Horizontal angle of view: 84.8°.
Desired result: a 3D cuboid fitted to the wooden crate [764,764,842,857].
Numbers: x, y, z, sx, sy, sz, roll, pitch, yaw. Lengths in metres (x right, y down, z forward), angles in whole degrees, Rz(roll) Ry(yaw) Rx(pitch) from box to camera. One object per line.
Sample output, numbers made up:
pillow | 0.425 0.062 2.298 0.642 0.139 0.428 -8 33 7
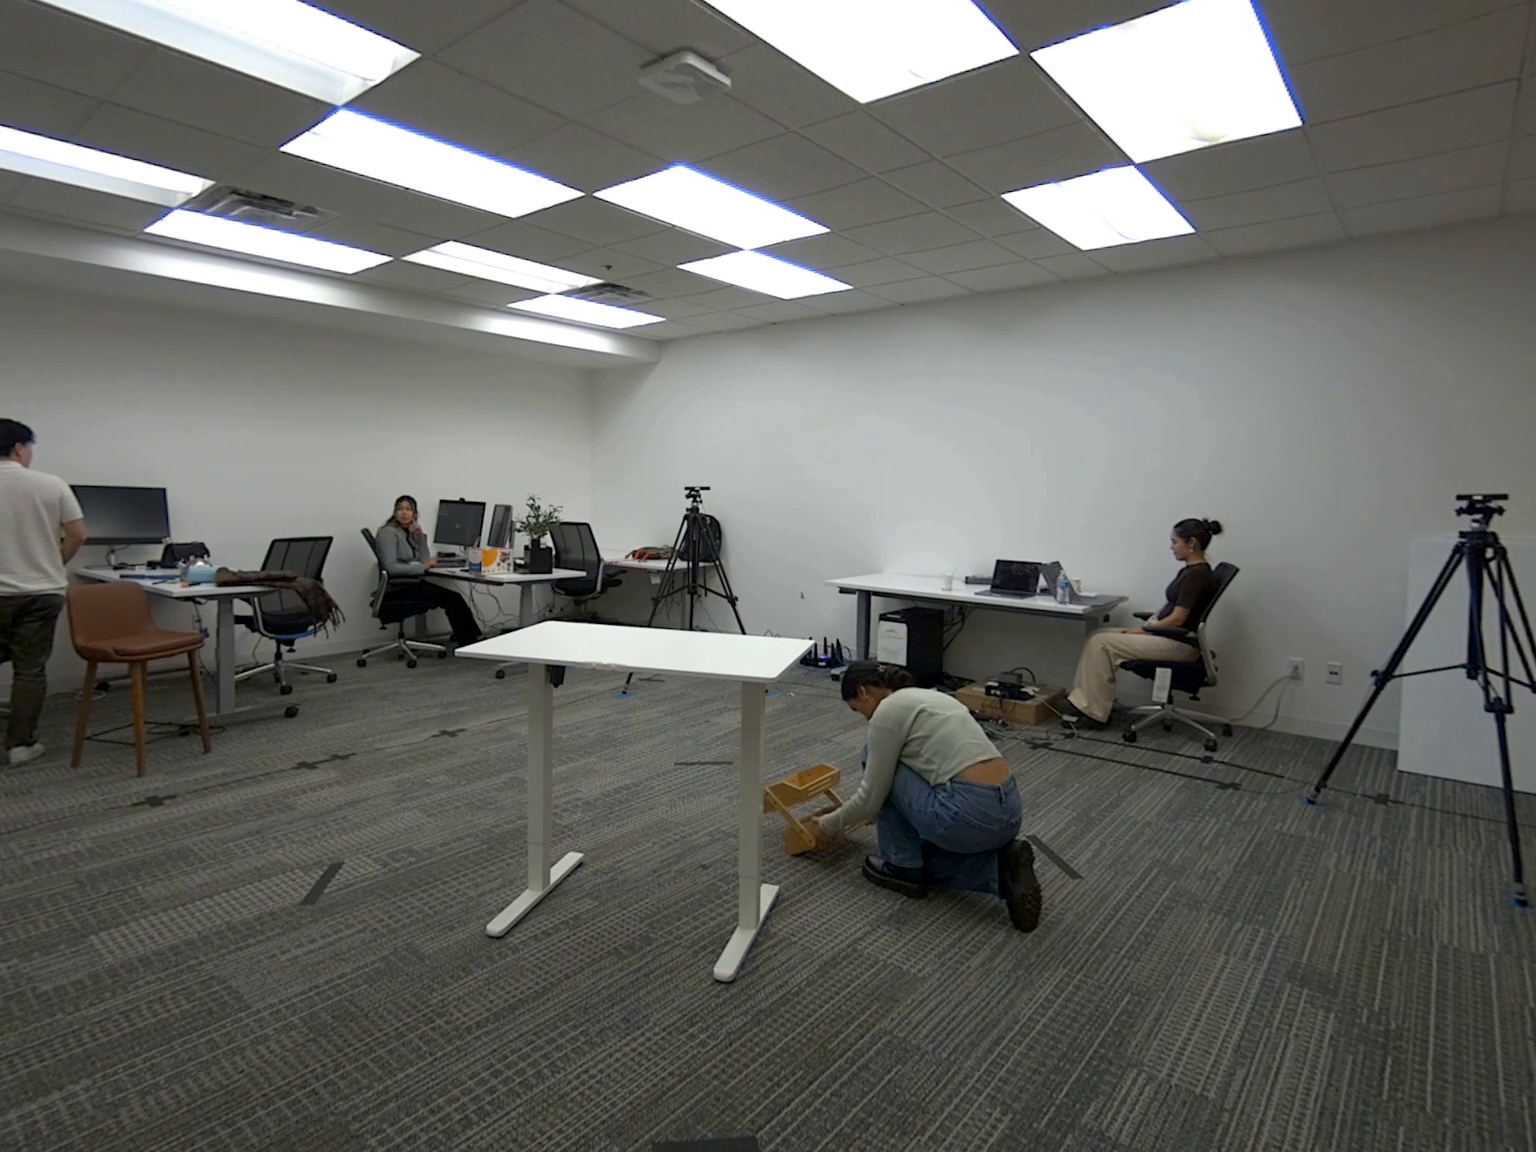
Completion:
wooden crate | 0.181 0.887 3.326 0.306 0.278 0.315 -29 -14 34
